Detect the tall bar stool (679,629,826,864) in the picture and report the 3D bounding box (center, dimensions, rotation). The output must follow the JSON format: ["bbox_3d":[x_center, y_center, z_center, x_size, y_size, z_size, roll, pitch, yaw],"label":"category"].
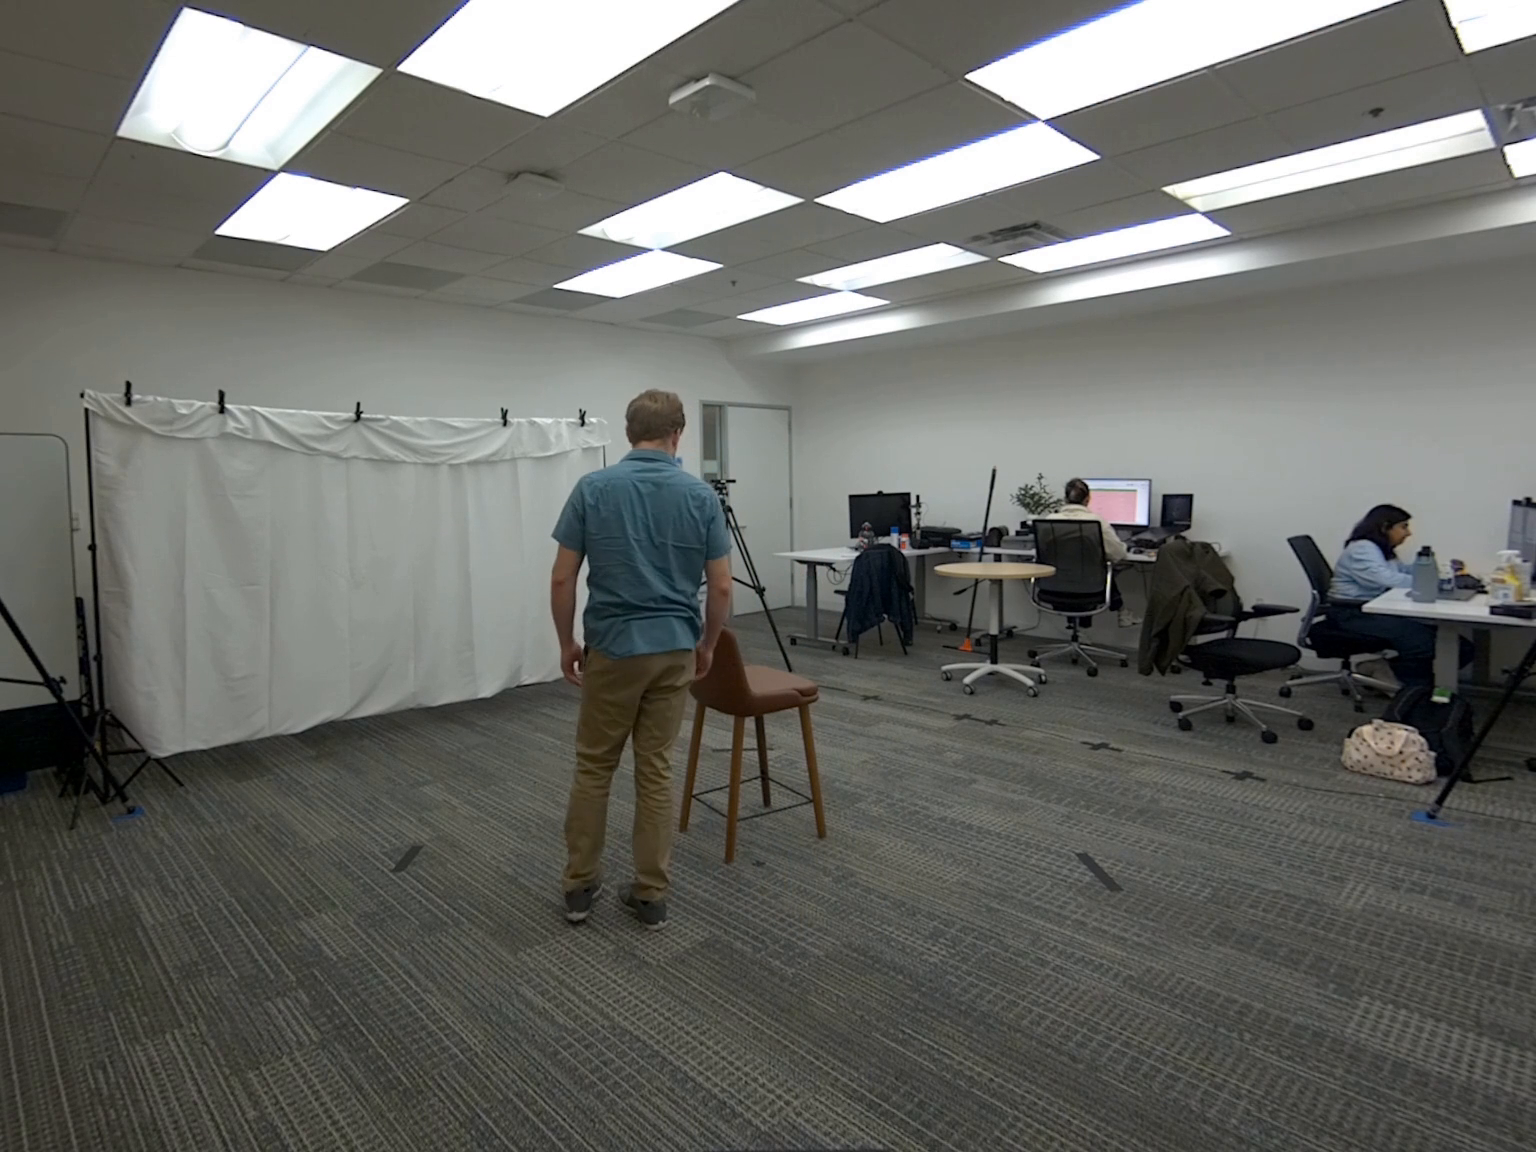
[{"bbox_3d":[-0.078,0.585,3.356,0.456,0.886,0.470,-5,6,-33],"label":"tall bar stool"}]
